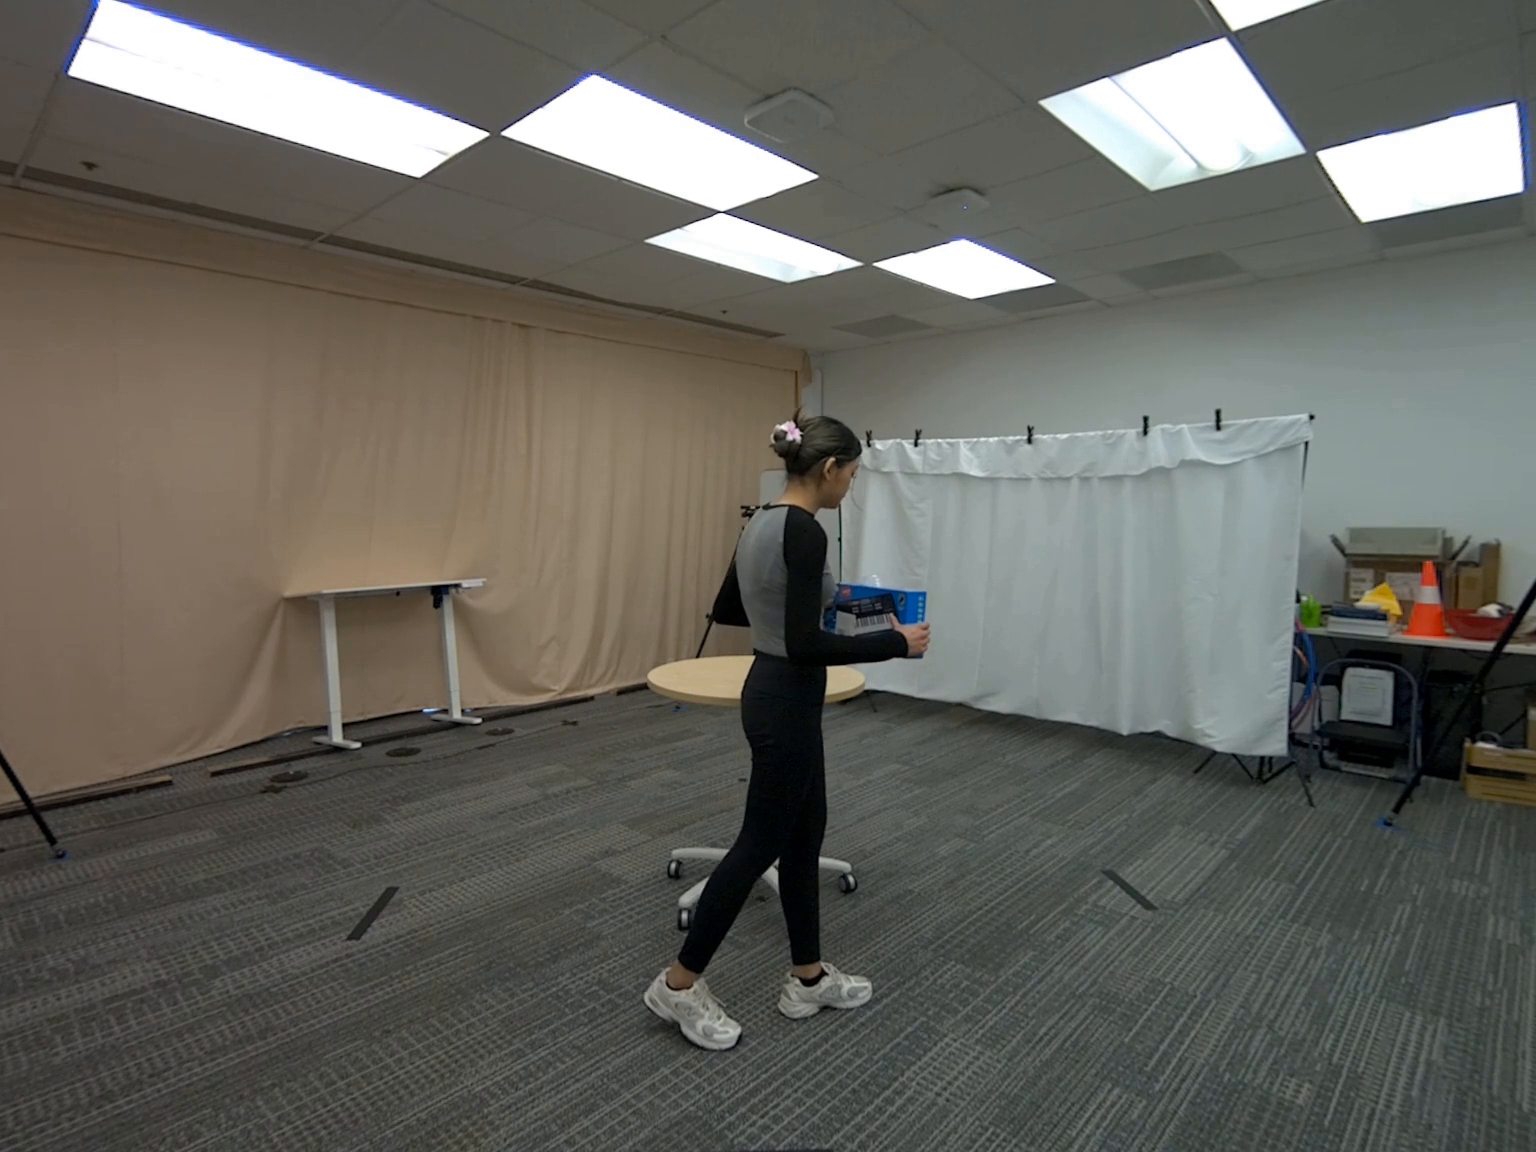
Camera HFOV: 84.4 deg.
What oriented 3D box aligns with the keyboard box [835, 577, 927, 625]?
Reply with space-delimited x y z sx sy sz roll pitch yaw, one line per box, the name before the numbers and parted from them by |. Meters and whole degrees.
keyboard box | 0.285 0.115 2.310 0.058 0.176 0.448 1 1 -26
